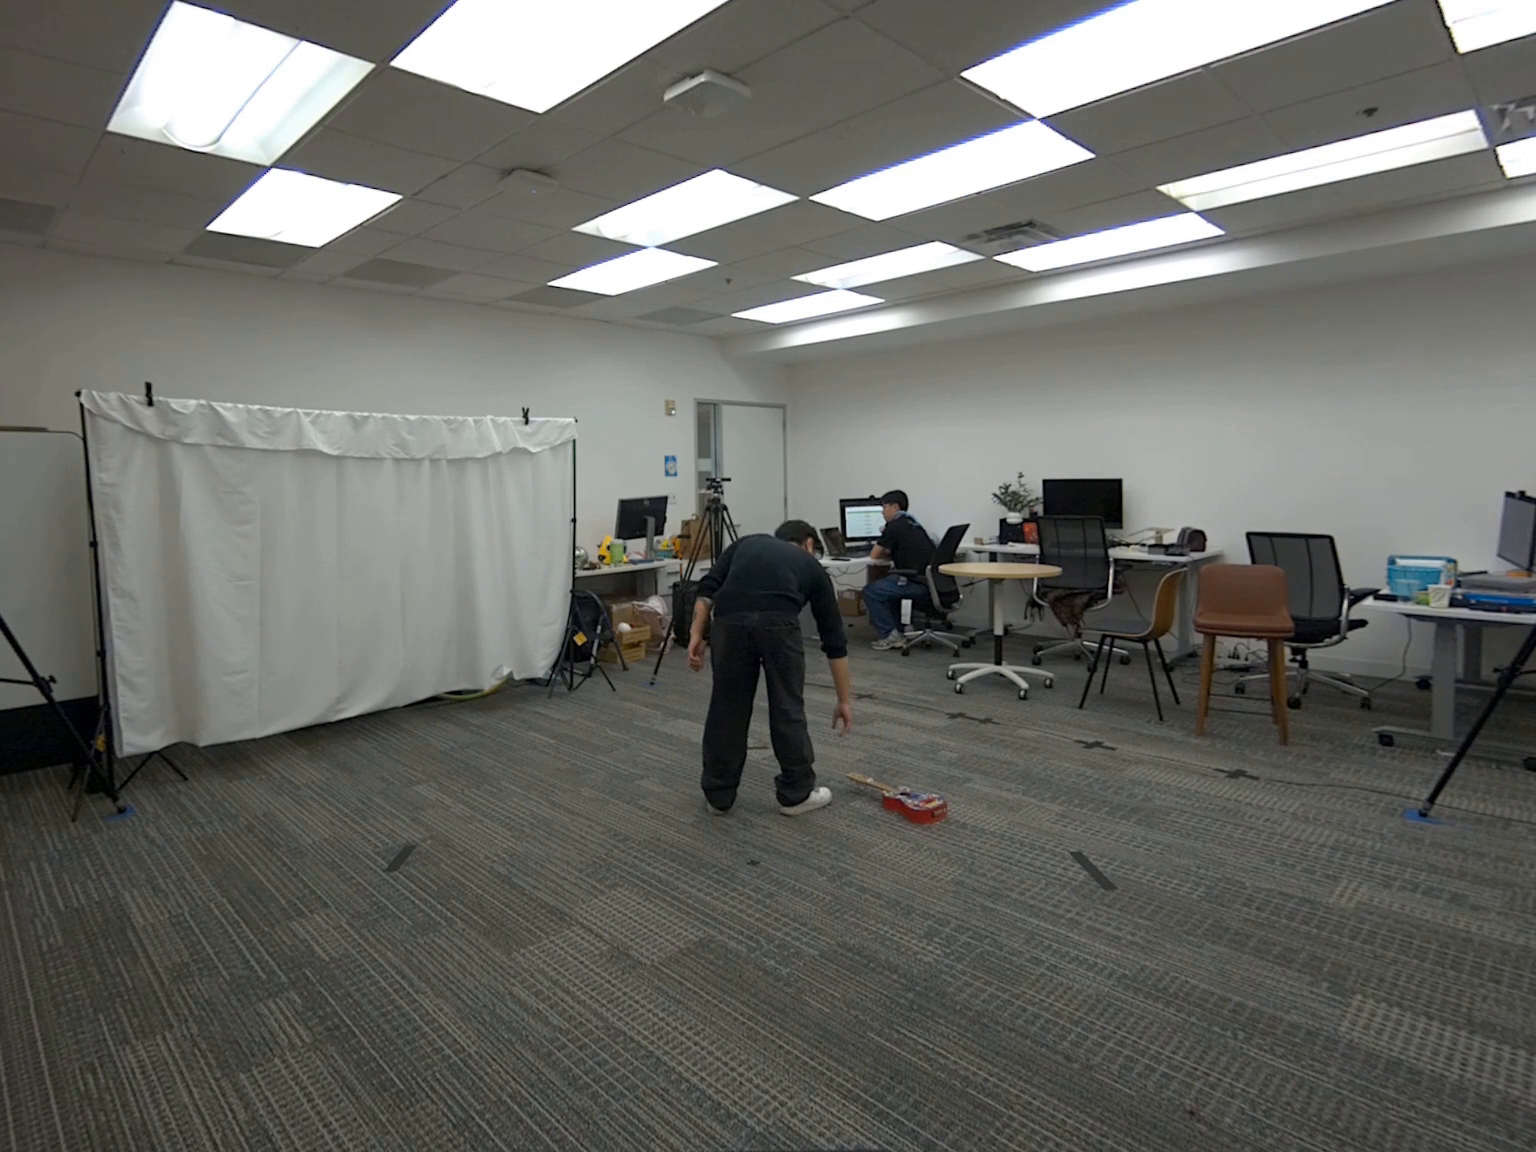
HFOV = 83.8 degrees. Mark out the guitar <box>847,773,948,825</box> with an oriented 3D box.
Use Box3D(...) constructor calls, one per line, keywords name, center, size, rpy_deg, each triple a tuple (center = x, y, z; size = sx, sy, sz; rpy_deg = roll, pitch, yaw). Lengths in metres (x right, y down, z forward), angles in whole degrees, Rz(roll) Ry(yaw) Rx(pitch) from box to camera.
Box3D(name="guitar", center=(0.550, 0.932, 3.665), size=(0.188, 0.070, 0.512), rpy_deg=(-5, 8, -31))
